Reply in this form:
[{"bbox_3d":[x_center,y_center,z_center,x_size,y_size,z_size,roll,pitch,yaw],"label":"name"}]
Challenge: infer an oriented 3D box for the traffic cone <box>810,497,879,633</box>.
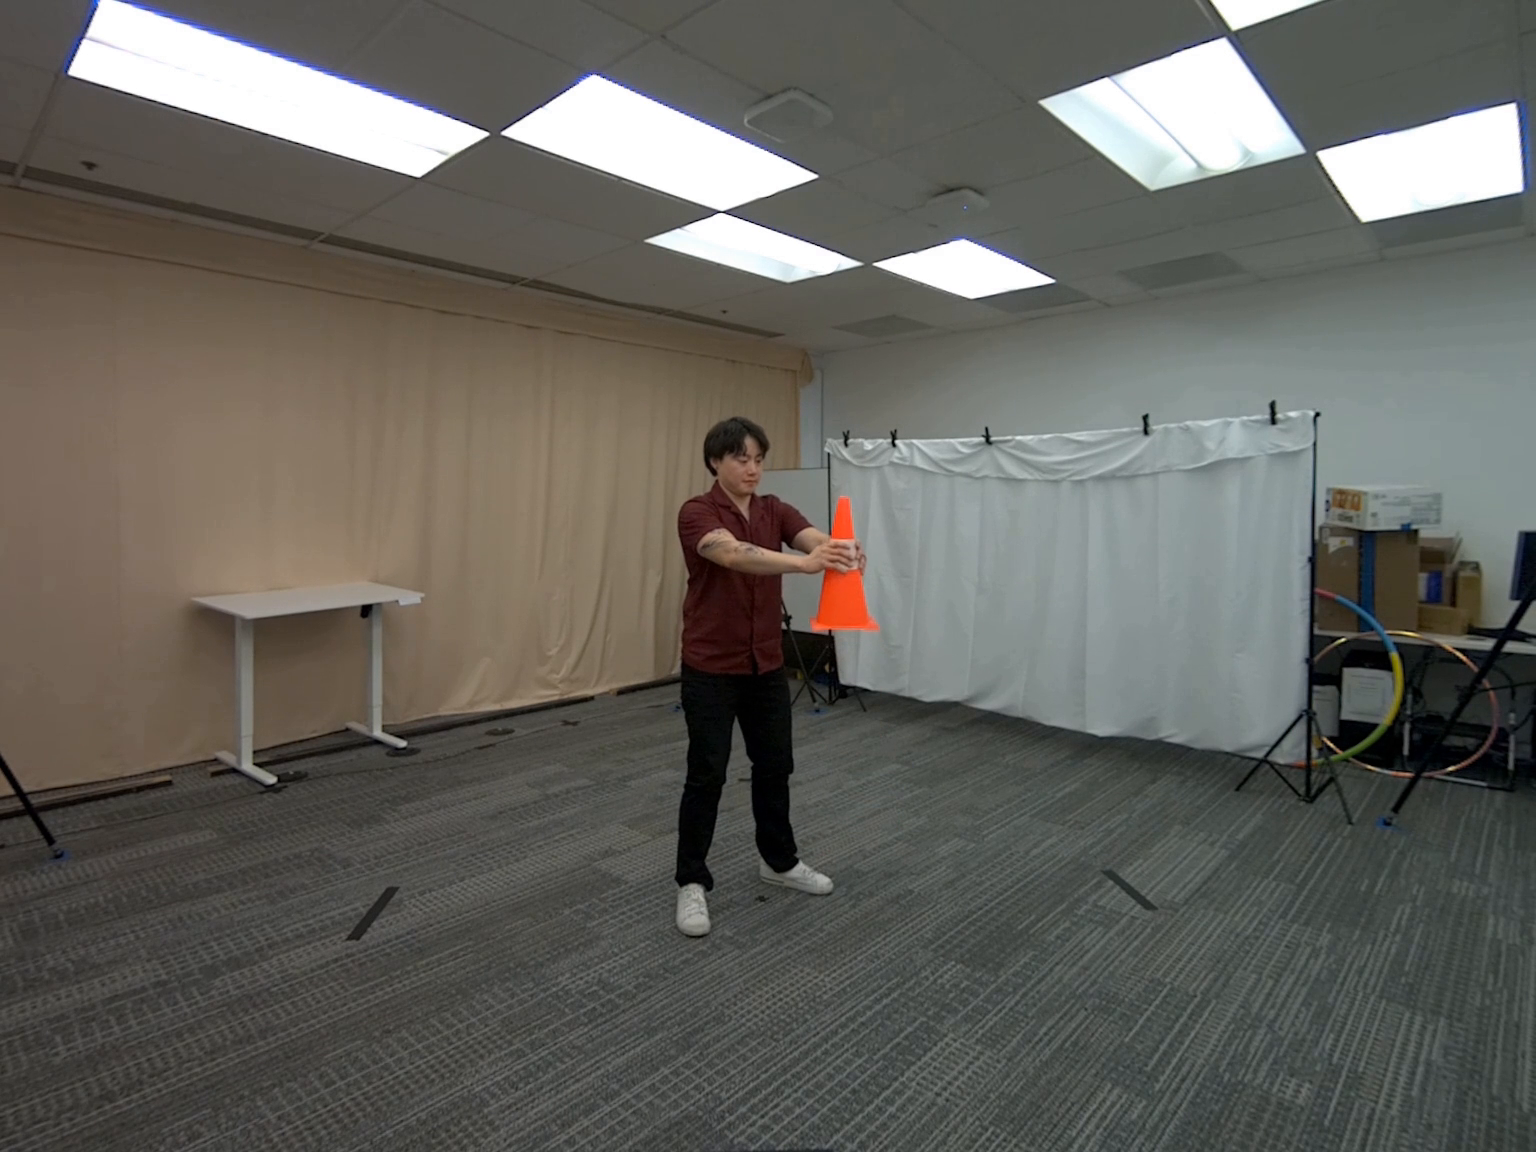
[{"bbox_3d":[0.232,-0.040,2.520,0.204,0.383,0.204,-3,4,5],"label":"traffic cone"}]
